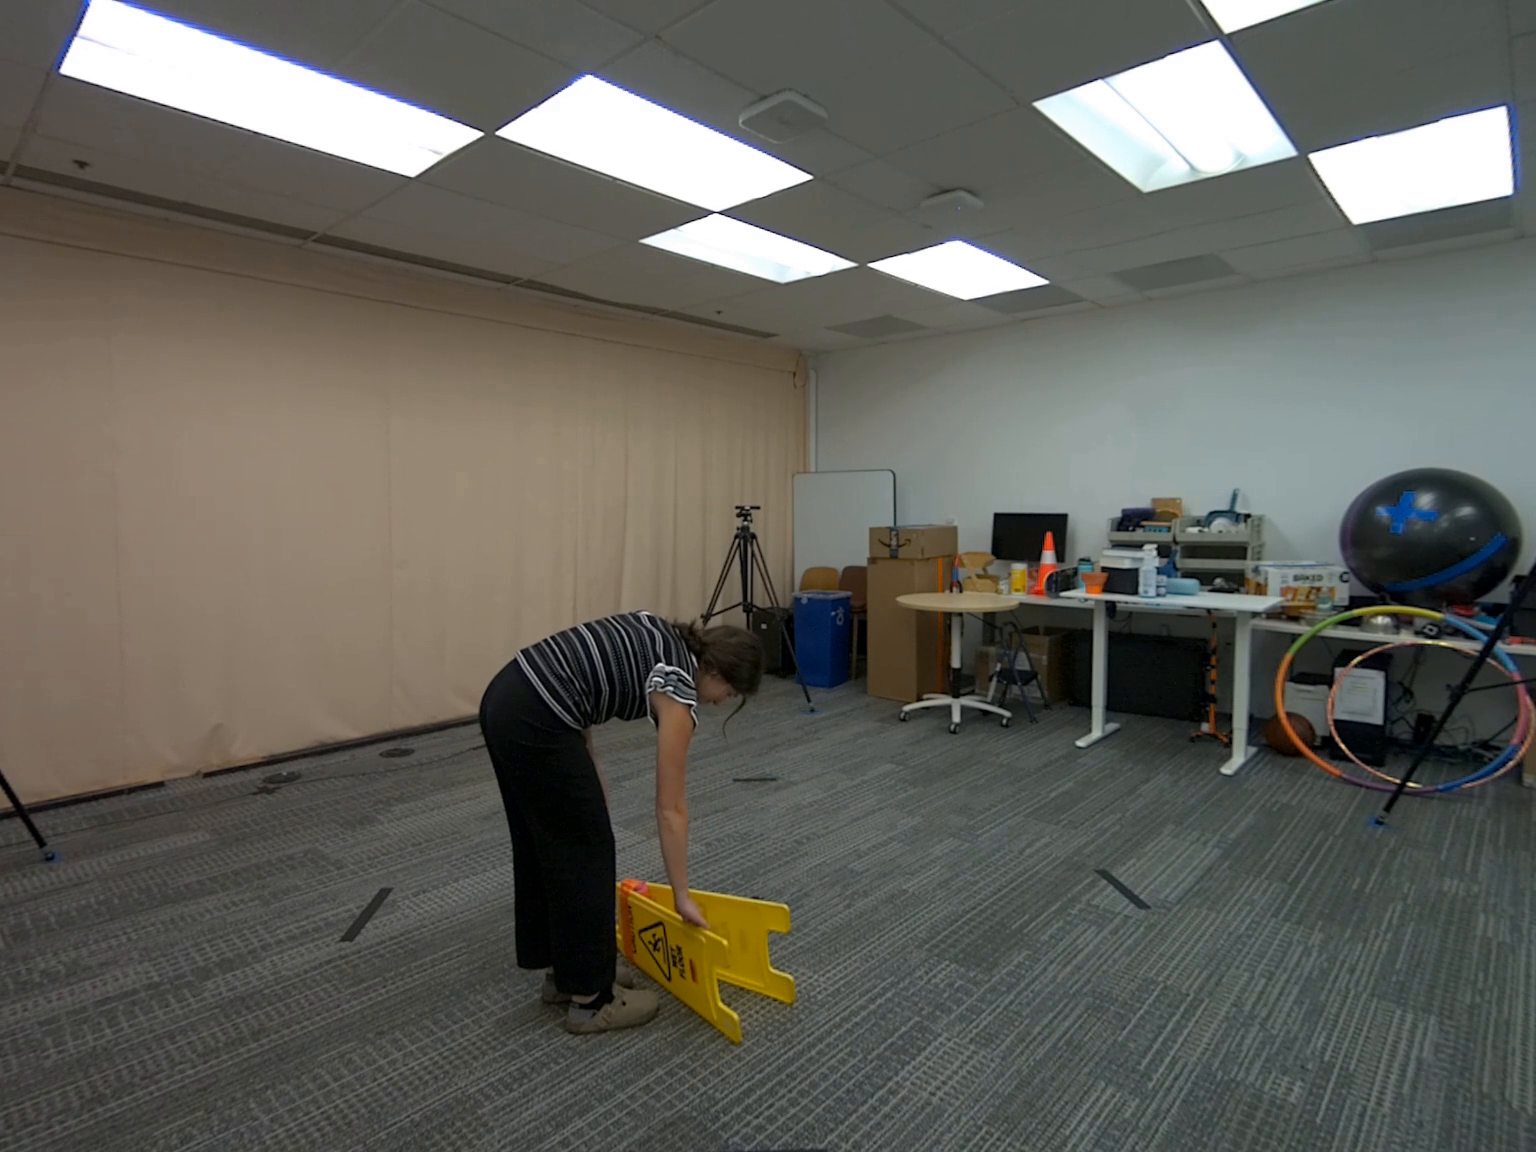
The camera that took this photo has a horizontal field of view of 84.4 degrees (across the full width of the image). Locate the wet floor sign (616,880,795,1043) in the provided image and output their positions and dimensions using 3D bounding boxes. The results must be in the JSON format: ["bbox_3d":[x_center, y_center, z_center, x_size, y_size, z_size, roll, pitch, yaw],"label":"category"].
[{"bbox_3d":[-0.266,1.066,2.464,0.667,0.281,0.281,0,5,41],"label":"wet floor sign"}]
